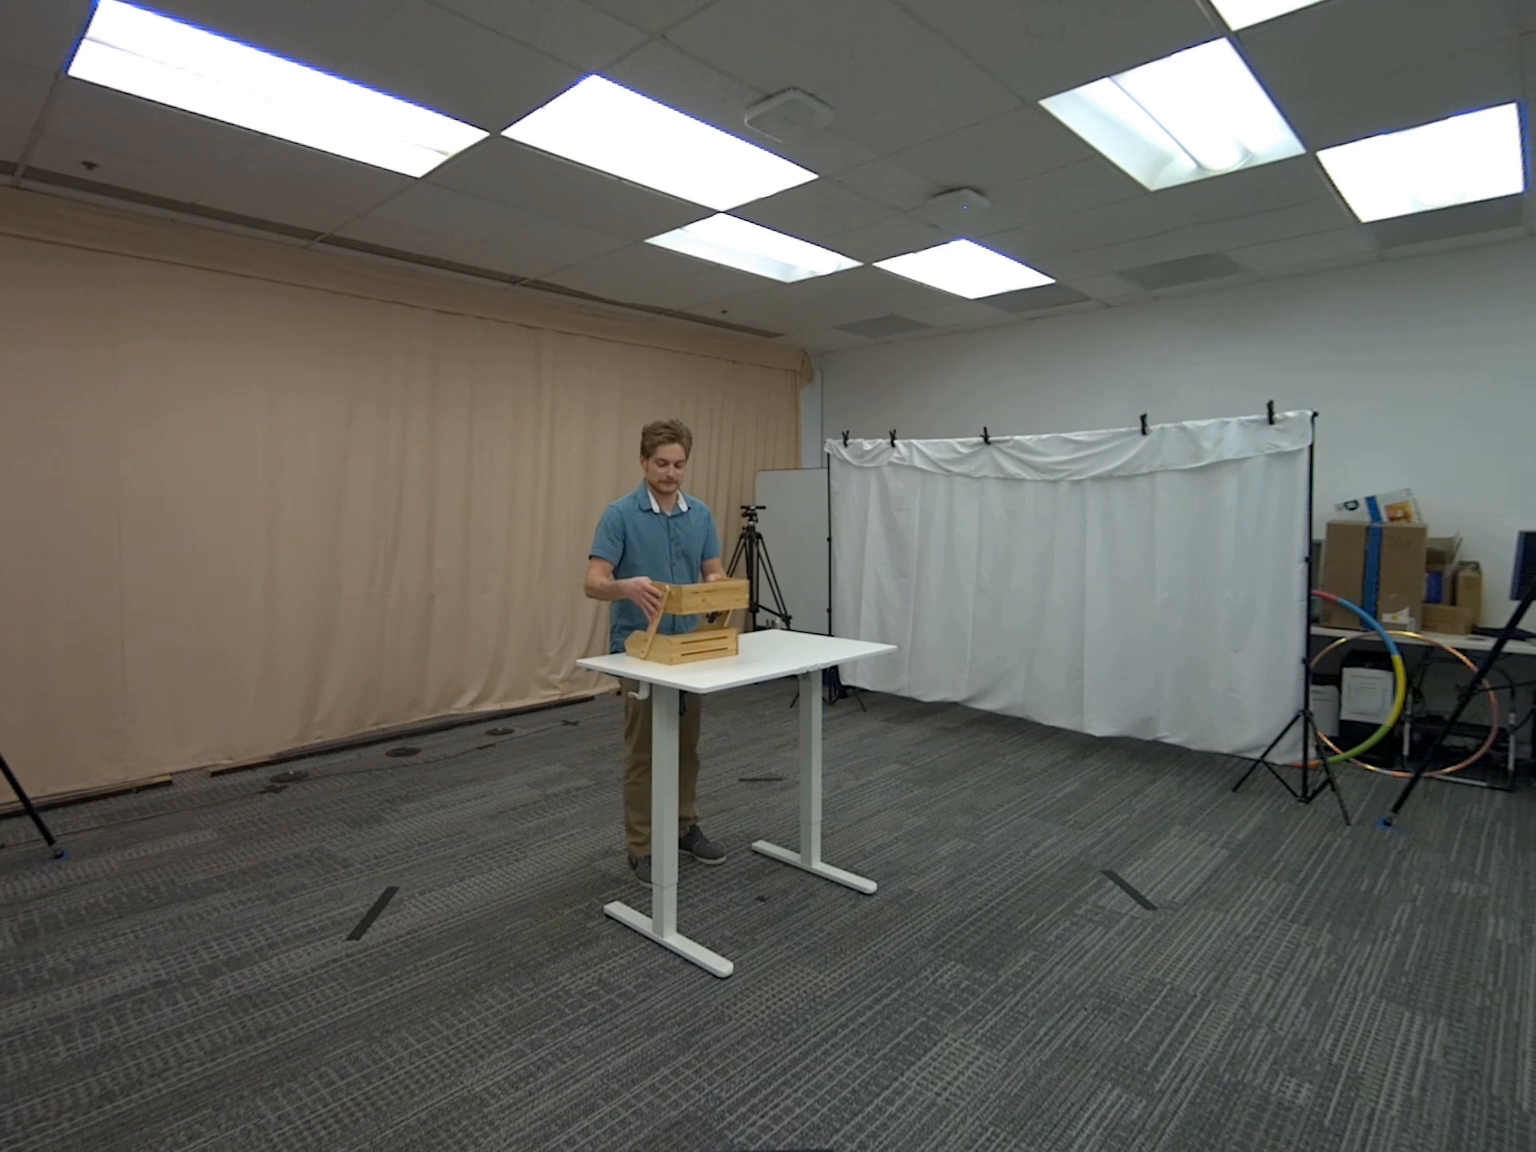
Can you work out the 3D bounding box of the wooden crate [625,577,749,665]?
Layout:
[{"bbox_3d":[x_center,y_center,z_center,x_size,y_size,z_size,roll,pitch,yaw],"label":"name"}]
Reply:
[{"bbox_3d":[-0.274,0.140,2.854,0.314,0.272,0.312,-3,6,-43],"label":"wooden crate"}]
